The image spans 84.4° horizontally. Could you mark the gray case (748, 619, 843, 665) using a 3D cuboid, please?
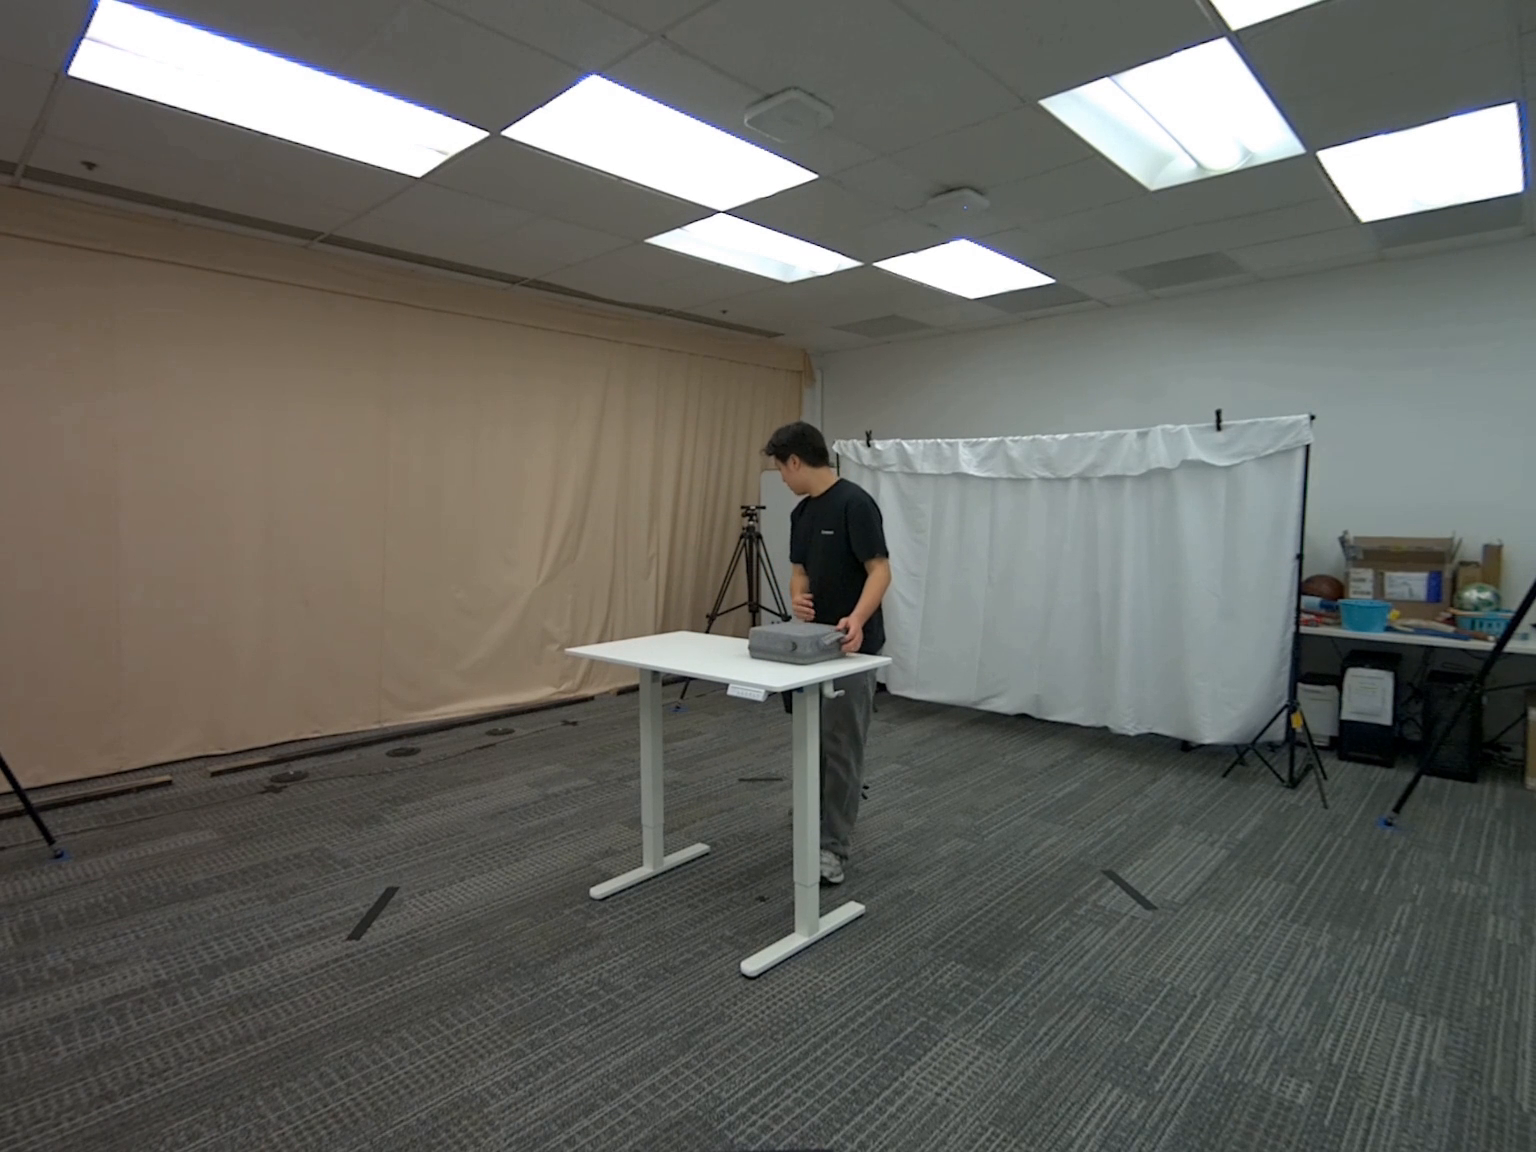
[{"bbox_3d":[0.095,0.224,2.810,0.269,0.104,0.249,4,4,42],"label":"gray case"}]
